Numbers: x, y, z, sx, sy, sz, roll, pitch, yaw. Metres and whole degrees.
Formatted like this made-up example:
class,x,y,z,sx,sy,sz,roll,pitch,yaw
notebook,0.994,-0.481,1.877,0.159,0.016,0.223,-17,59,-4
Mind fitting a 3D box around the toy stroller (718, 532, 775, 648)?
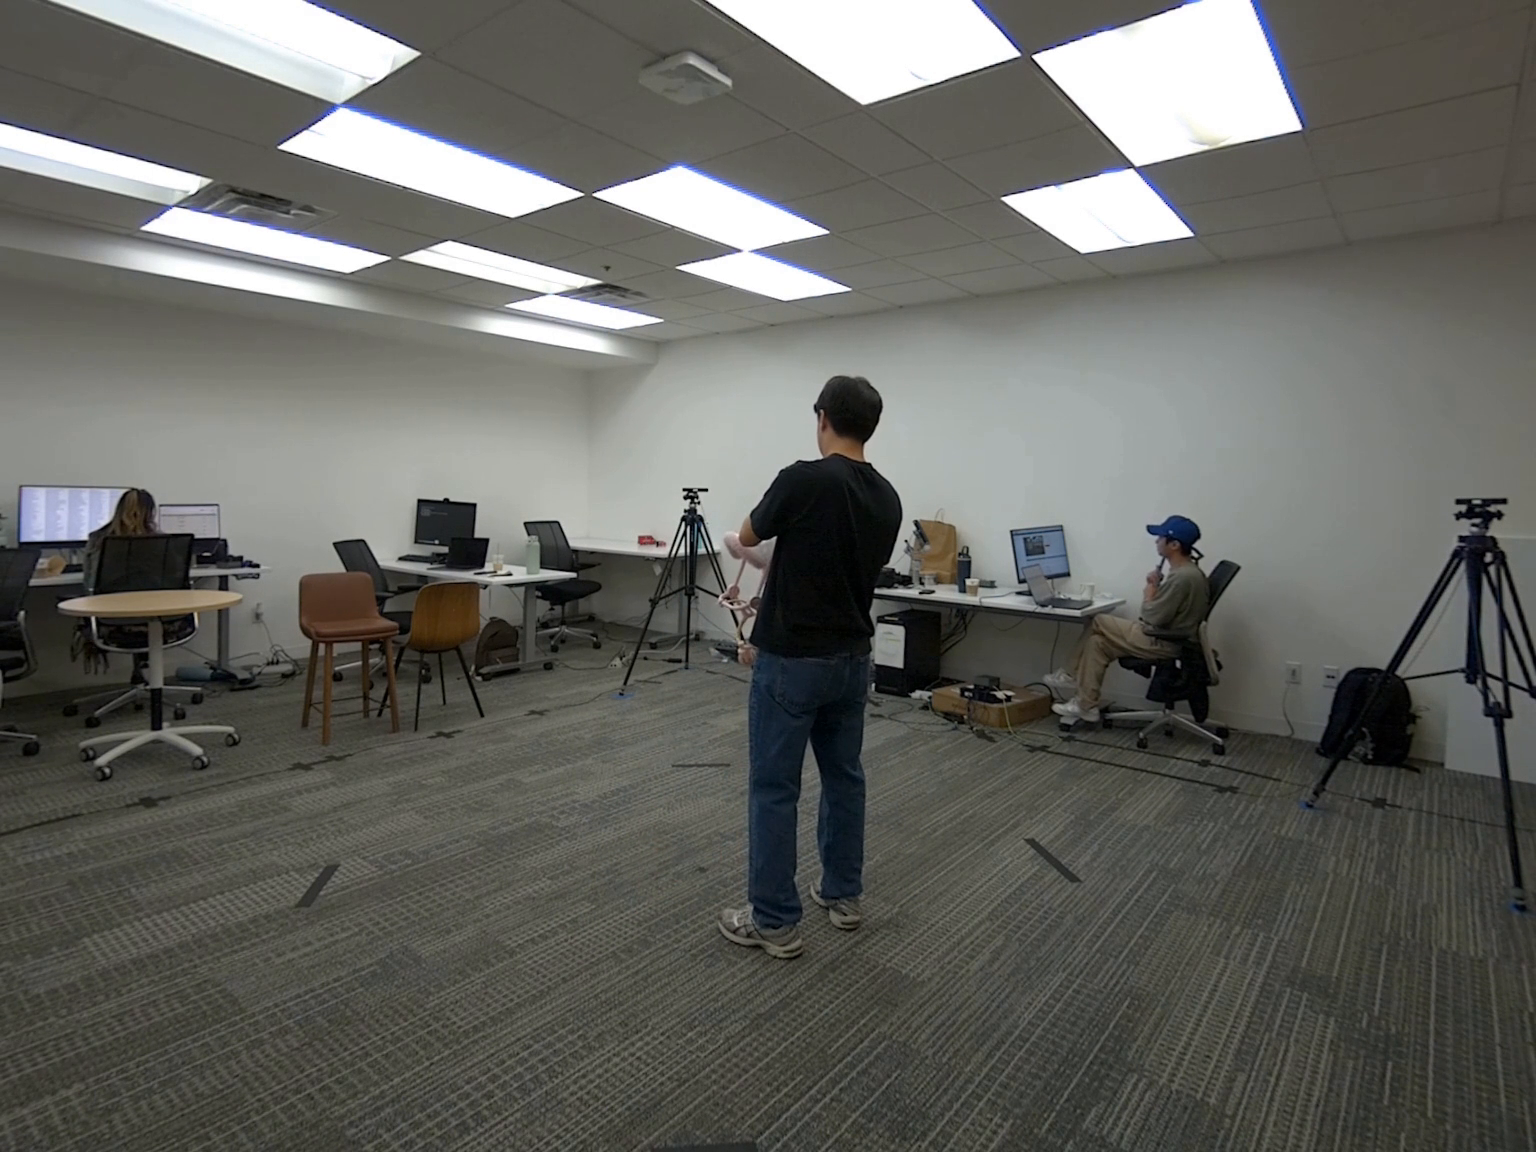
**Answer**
class,x,y,z,sx,sy,sz,roll,pitch,yaw
toy stroller,-0.052,0.035,3.086,0.338,0.524,0.290,-22,18,-15
